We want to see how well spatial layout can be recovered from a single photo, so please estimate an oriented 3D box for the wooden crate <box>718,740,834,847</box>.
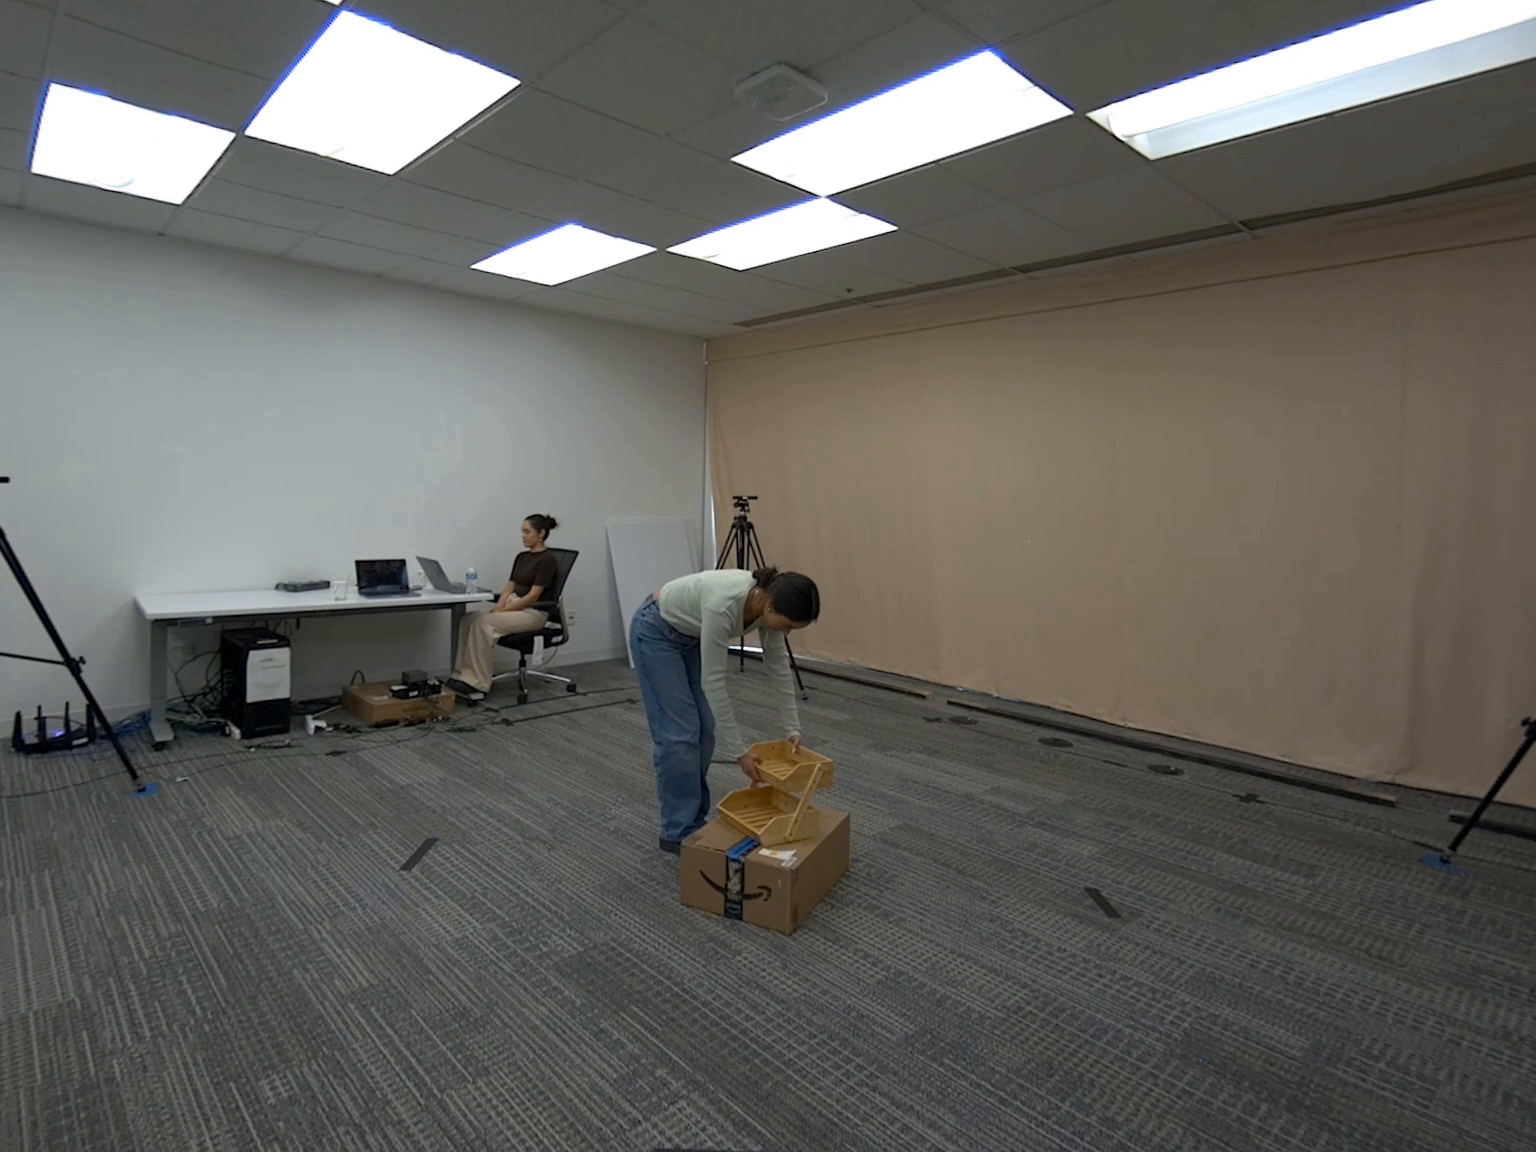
[{"bbox_3d":[0.013,0.763,3.021,0.296,0.273,0.332,0,4,-32],"label":"wooden crate"}]
